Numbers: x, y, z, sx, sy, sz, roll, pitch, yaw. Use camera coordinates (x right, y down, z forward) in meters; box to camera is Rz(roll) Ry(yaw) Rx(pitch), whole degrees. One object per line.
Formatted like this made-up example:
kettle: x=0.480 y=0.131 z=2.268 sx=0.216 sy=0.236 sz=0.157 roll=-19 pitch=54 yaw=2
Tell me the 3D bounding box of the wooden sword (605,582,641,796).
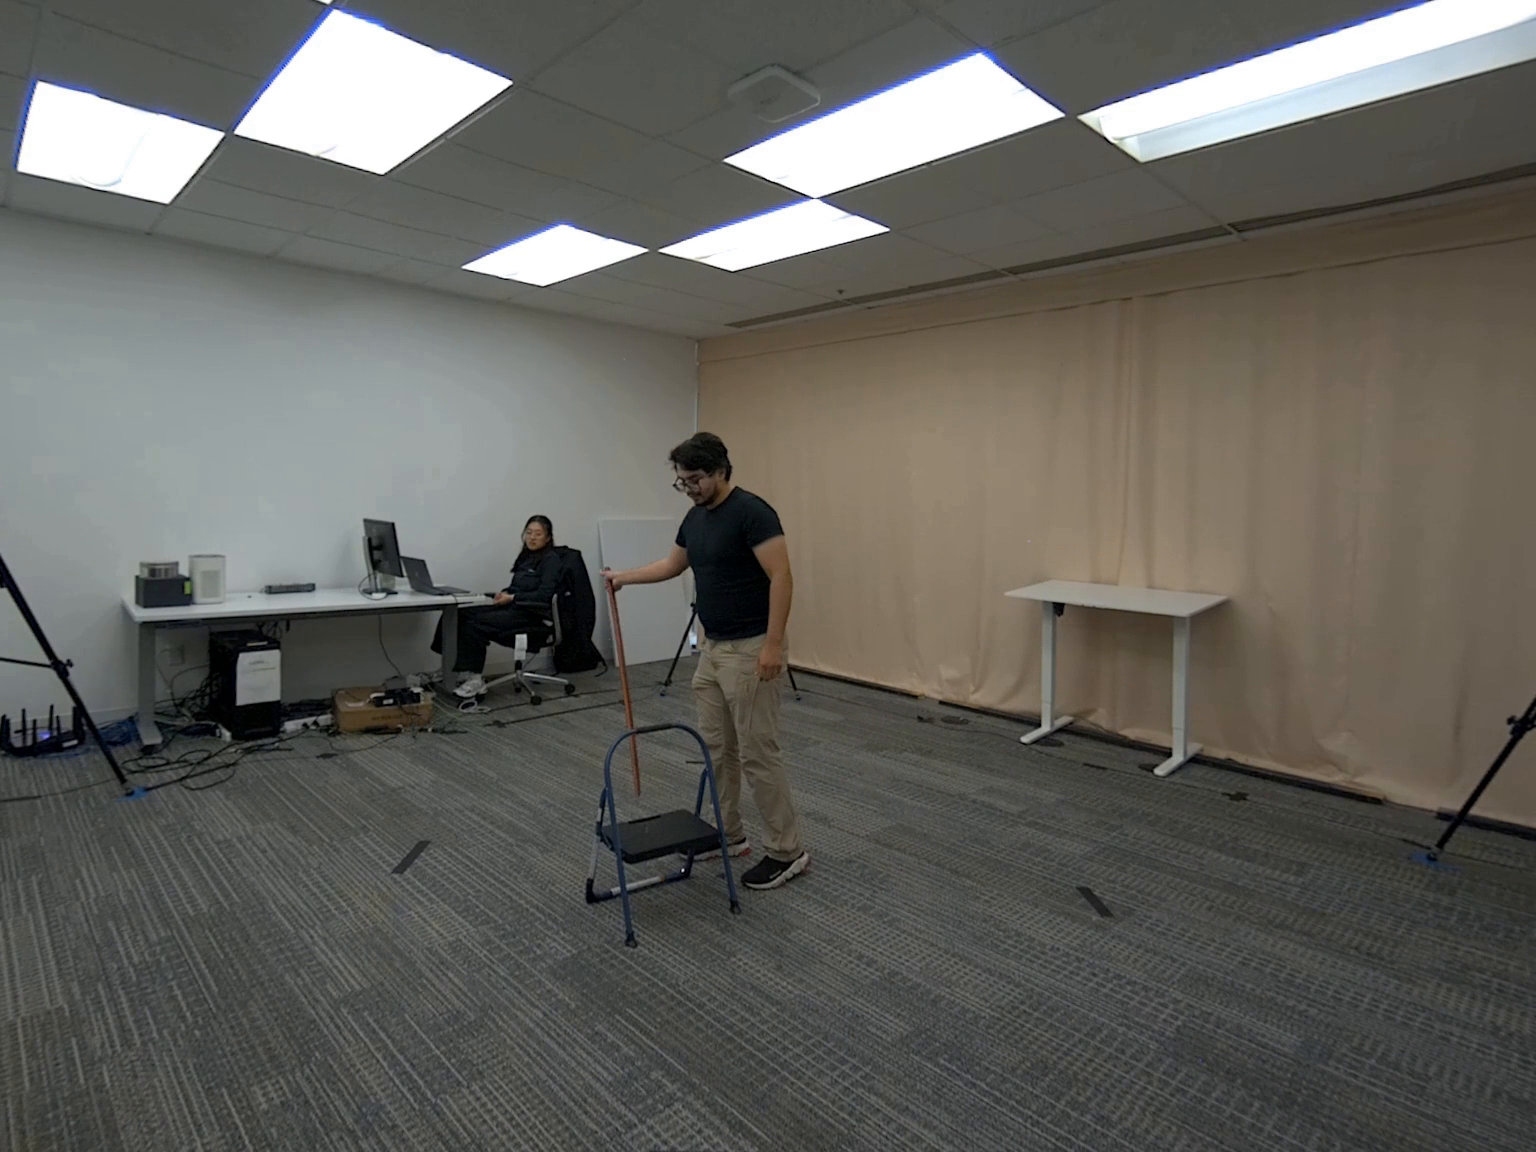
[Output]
wooden sword: x=-0.557 y=0.414 z=3.339 sx=0.051 sy=1.051 sz=0.023 roll=-27 pitch=-36 yaw=16
